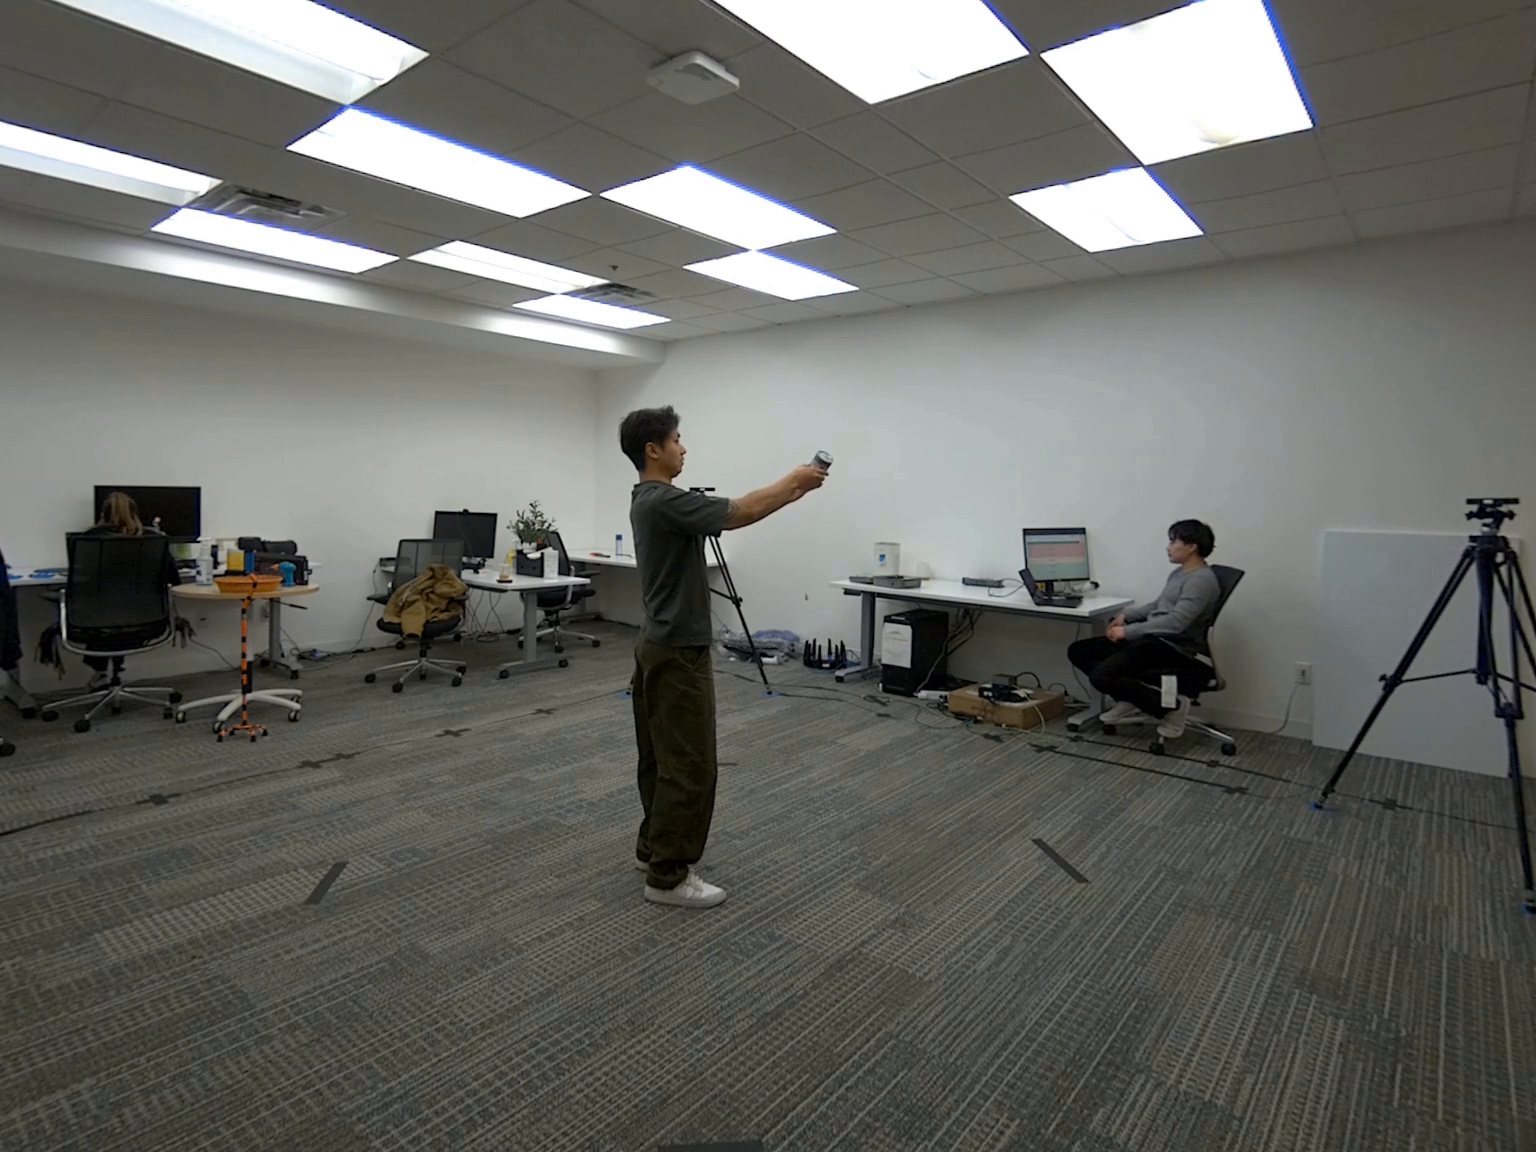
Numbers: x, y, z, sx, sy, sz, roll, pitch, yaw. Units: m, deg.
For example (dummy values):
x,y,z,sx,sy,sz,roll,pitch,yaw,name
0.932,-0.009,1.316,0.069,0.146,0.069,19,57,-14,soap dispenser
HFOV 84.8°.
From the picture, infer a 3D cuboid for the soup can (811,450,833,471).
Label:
x,y,z,sx,sy,sz,roll,pitch,yaw,name
0.173,-0.385,3.044,0.066,0.121,0.069,25,27,-16,soup can
